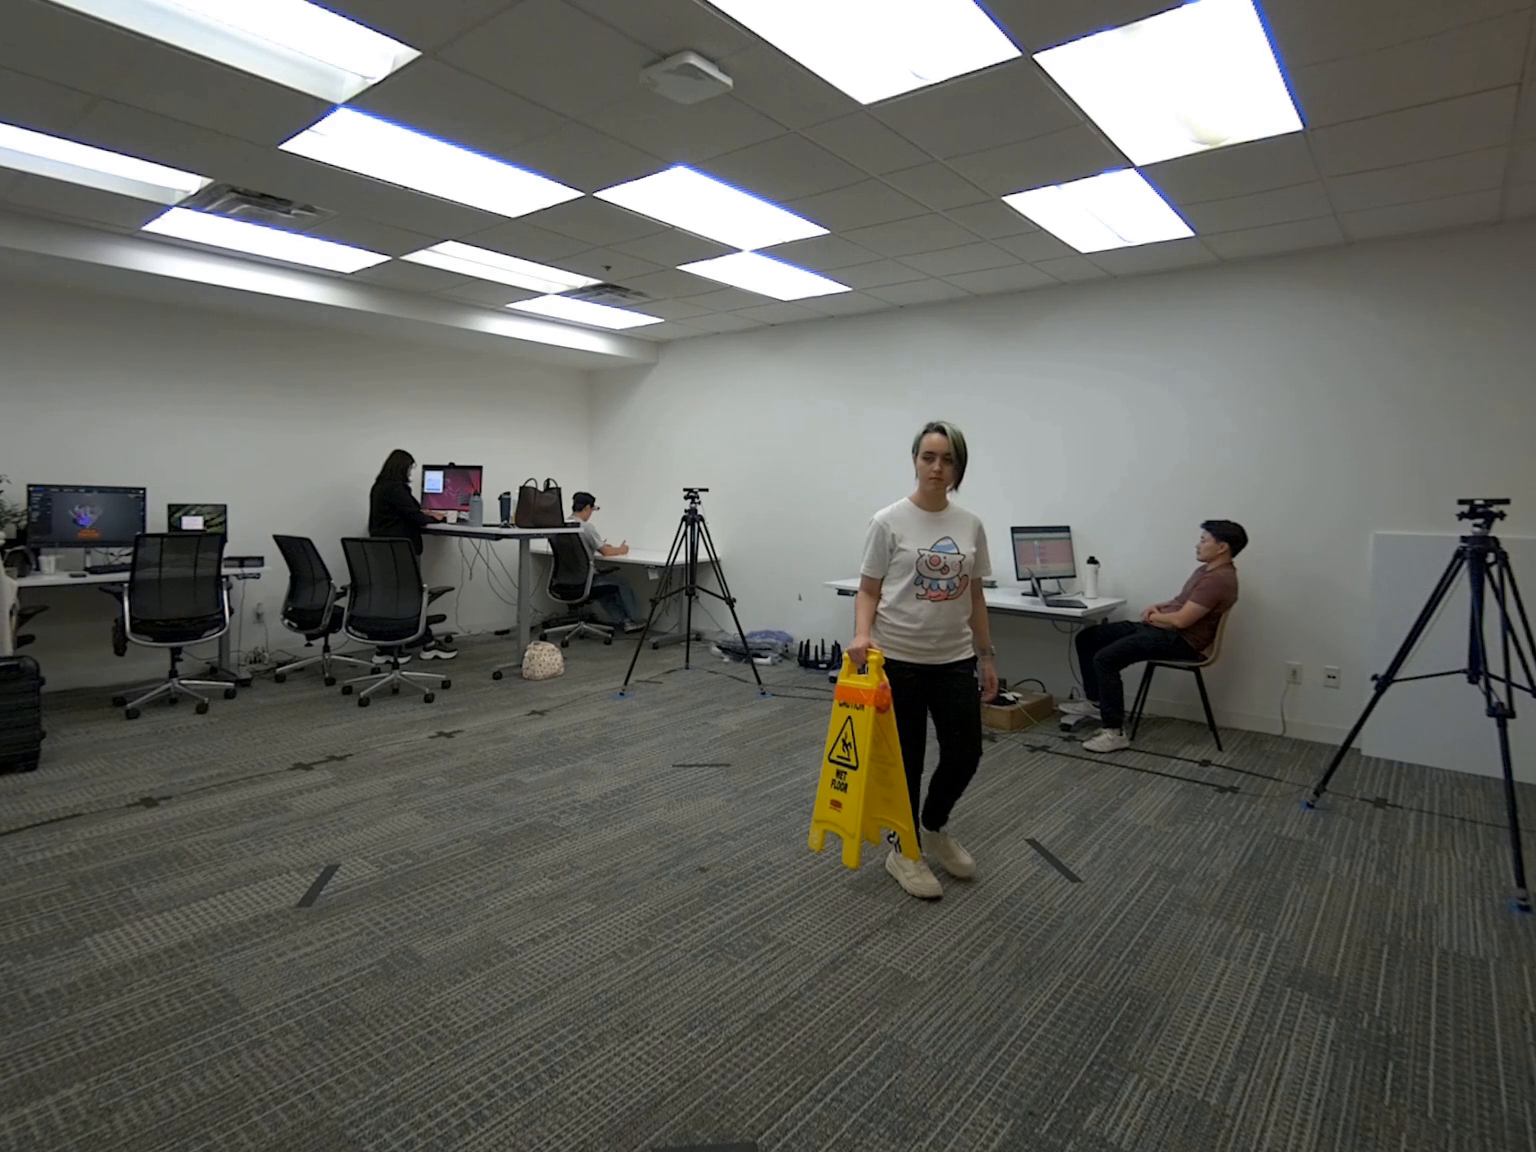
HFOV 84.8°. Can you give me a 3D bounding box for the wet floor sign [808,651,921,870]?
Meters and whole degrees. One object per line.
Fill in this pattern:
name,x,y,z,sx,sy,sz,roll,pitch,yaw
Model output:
wet floor sign,0.297,0.564,2.762,0.283,0.650,0.287,2,-6,-25
